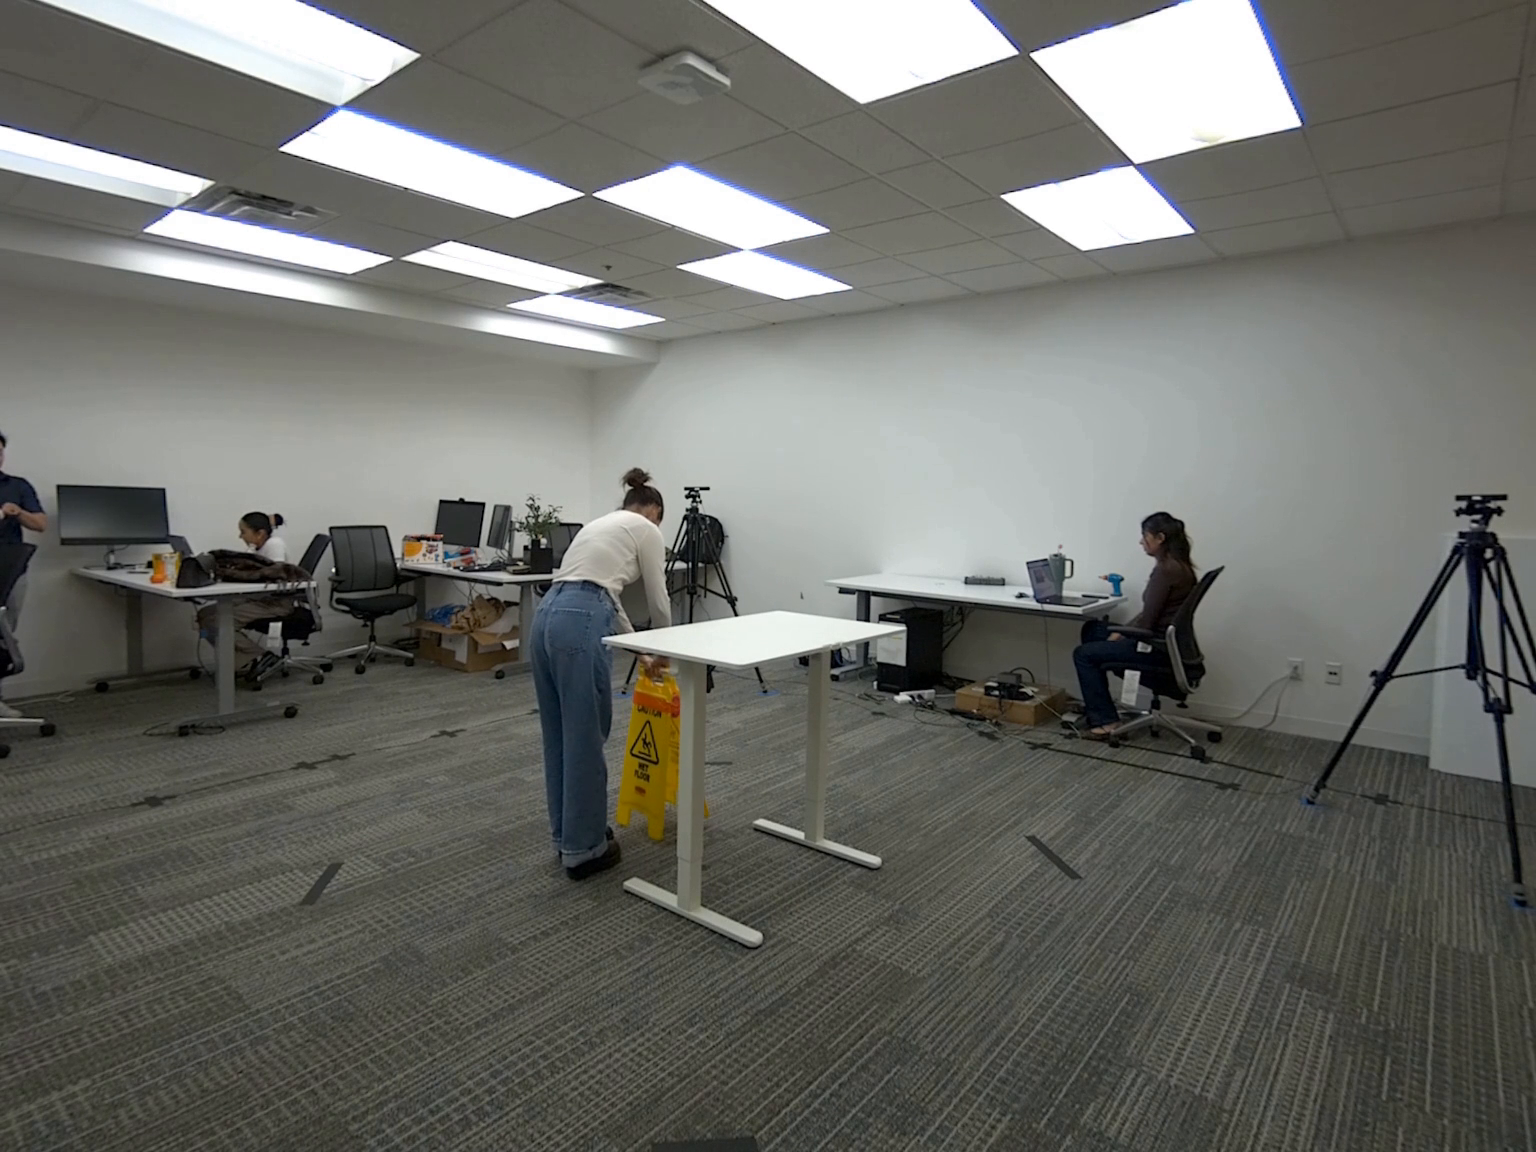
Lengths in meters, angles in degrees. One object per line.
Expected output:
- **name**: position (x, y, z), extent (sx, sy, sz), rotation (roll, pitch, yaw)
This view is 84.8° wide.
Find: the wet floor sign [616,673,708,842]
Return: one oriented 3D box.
- **wet floor sign**: position (-0.456, 0.680, 3.474), extent (0.292, 0.642, 0.282), rotation (4, 9, 42)
